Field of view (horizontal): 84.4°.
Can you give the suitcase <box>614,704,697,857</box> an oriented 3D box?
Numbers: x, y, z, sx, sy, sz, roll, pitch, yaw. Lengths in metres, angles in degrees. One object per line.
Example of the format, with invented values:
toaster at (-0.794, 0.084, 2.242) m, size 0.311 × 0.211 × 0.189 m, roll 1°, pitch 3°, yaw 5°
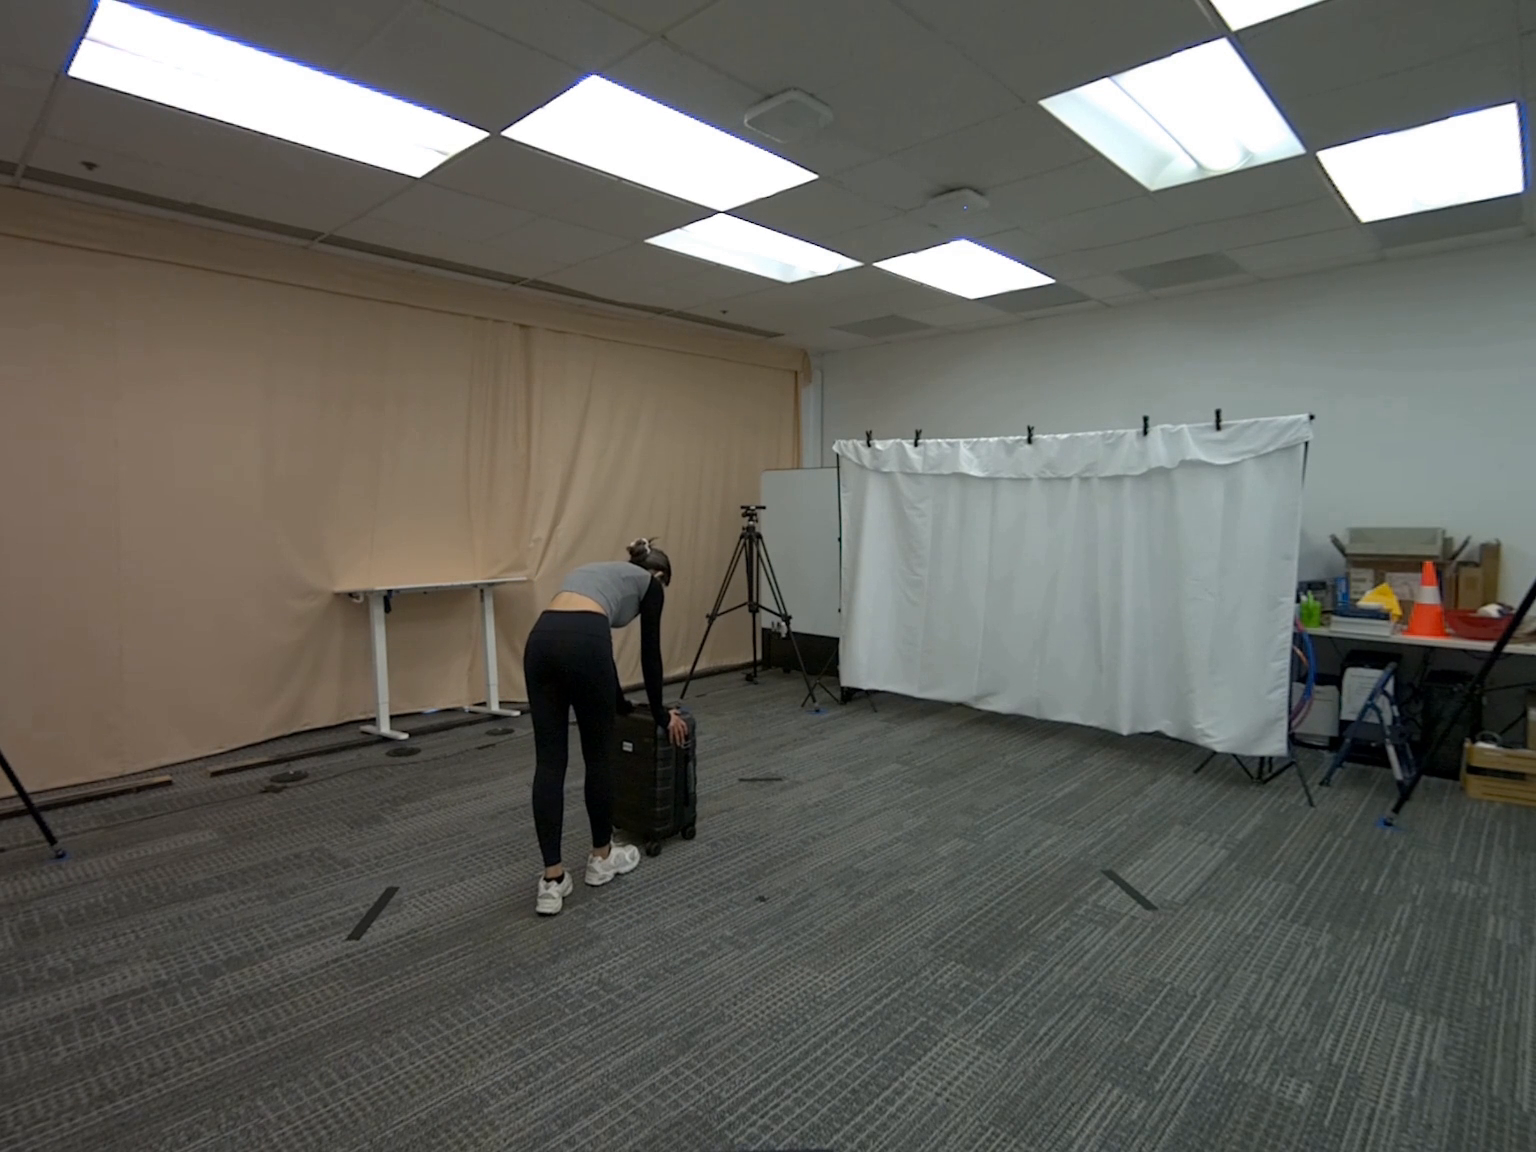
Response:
suitcase at (-0.494, 0.828, 3.545) m, size 0.388 × 0.549 × 0.240 m, roll 3°, pitch 2°, yaw 39°
